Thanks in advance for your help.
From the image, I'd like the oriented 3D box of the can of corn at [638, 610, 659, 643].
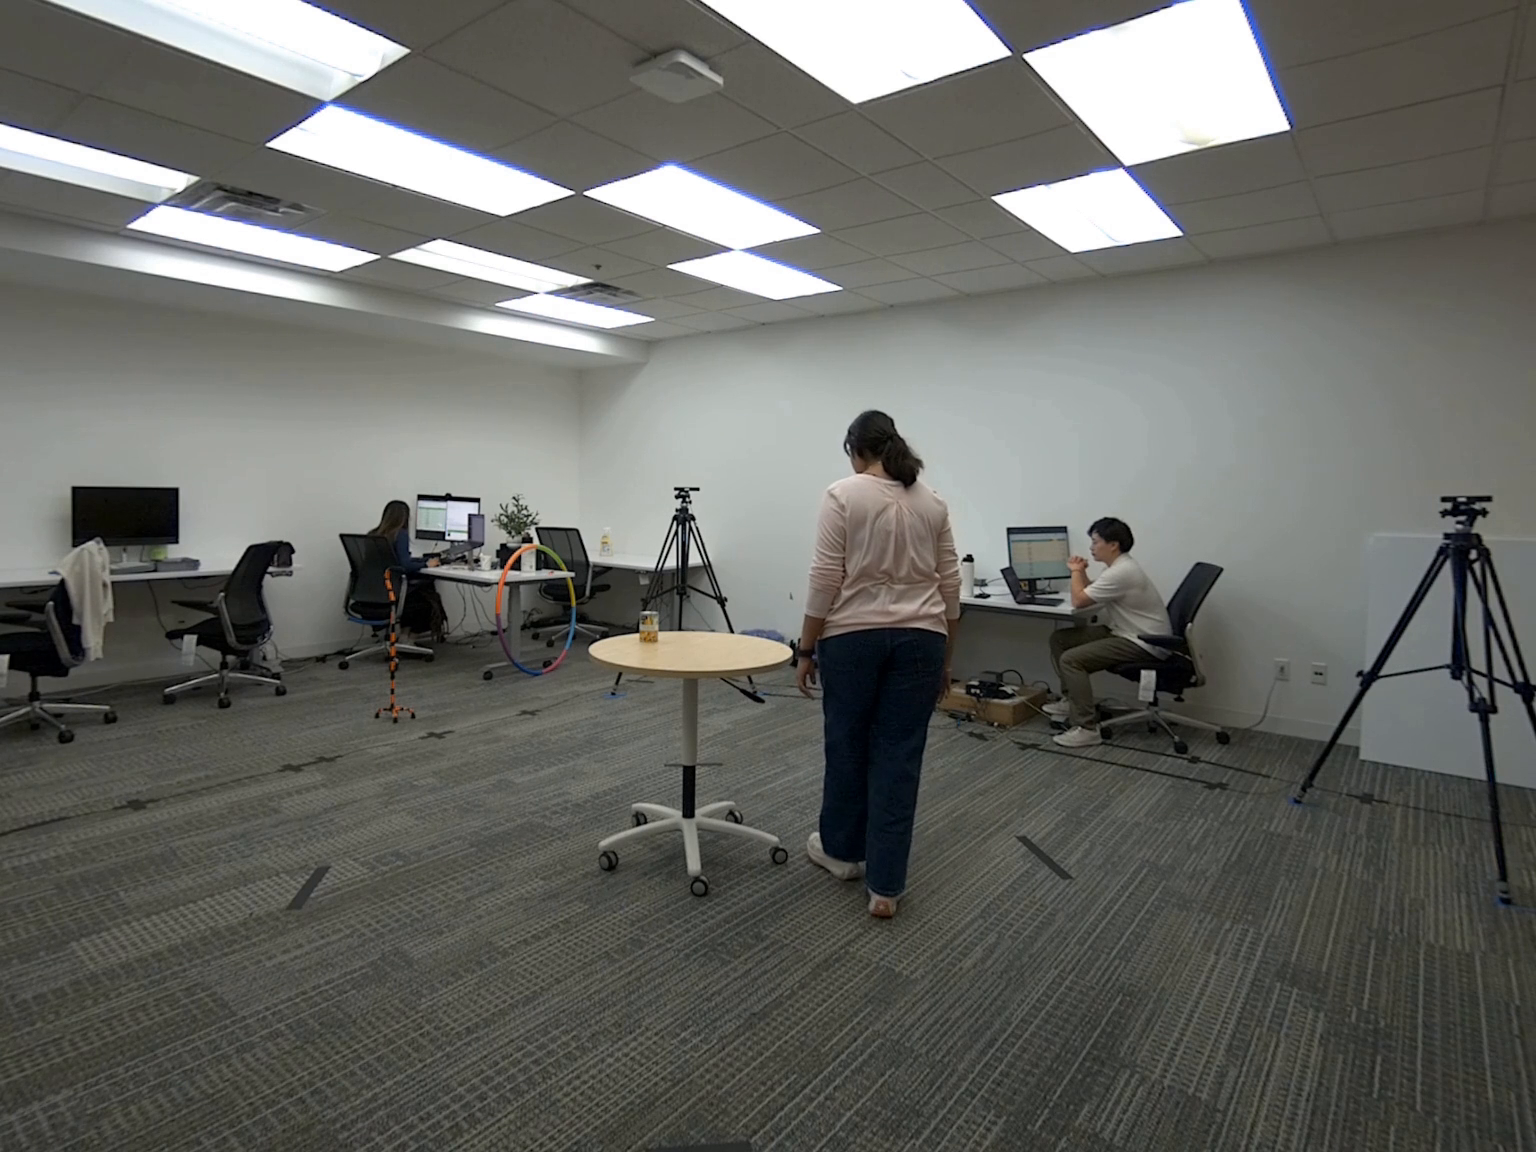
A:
[{"bbox_3d":[-0.485,0.197,3.350,0.074,0.111,0.074,2,3,-2],"label":"can of corn"}]
